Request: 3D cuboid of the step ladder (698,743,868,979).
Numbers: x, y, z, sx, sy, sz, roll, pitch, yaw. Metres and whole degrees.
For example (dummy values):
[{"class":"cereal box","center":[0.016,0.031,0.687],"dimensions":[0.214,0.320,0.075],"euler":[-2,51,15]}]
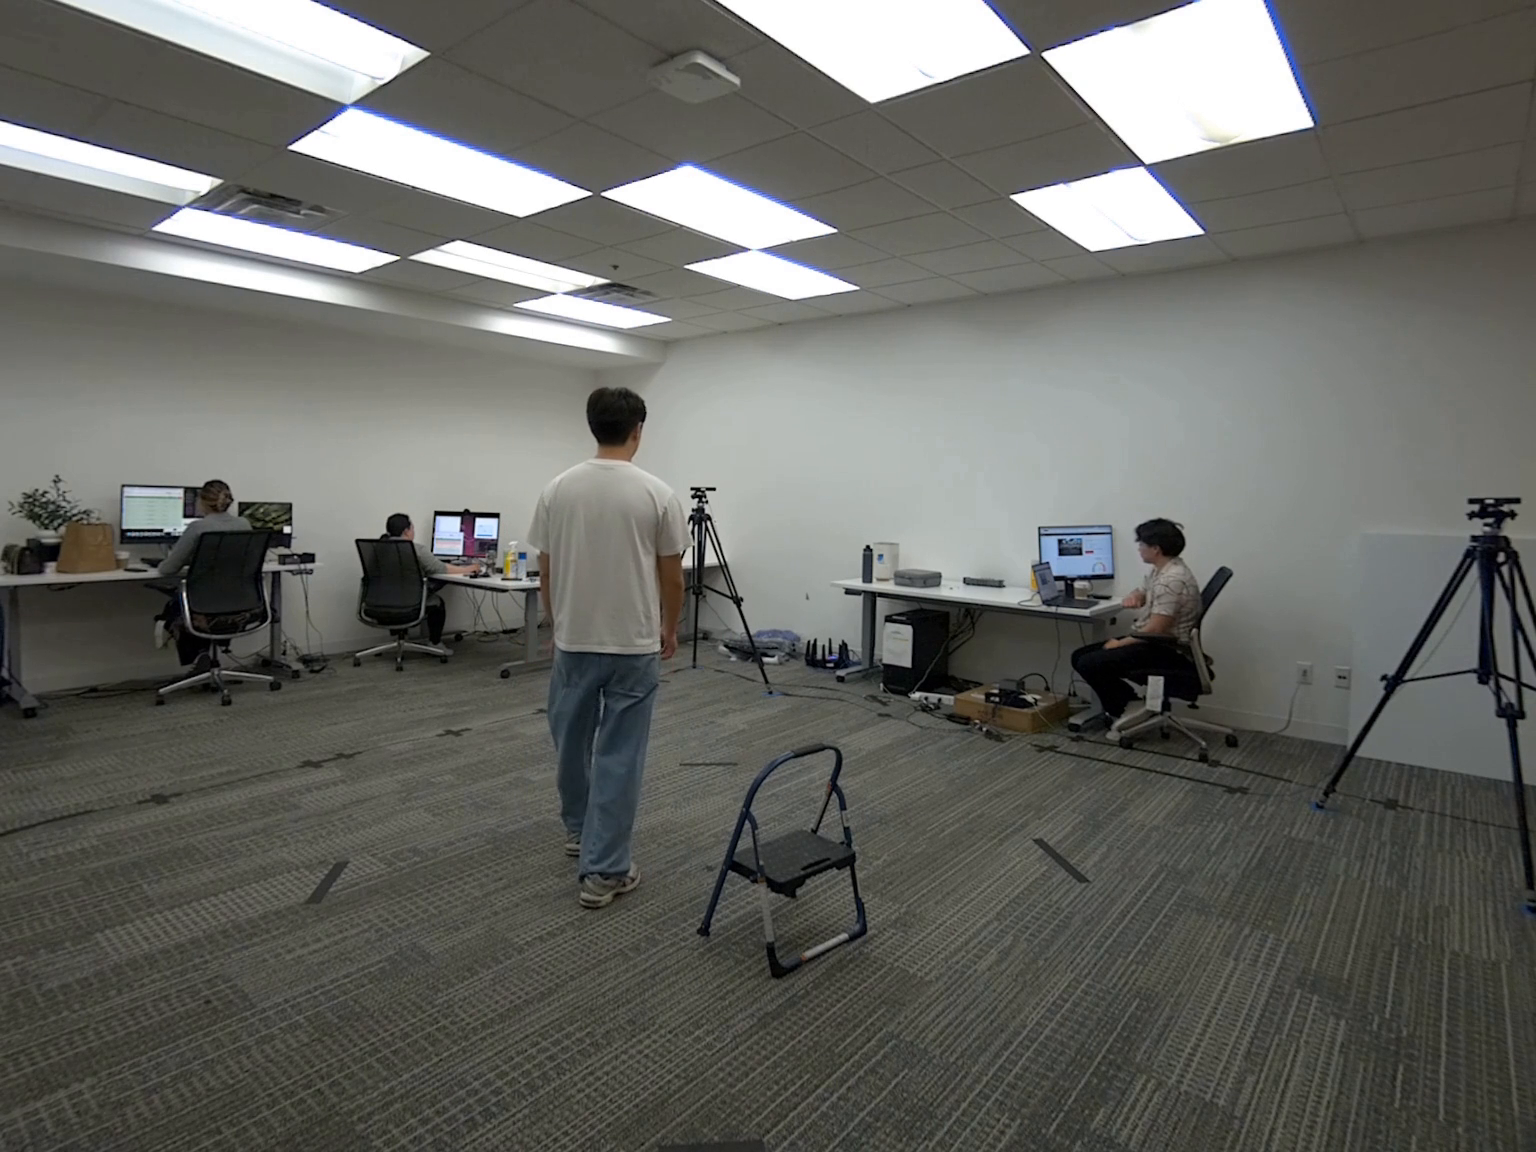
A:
[{"class":"step ladder","center":[0.050,0.812,2.651],"dimensions":[0.417,0.604,0.361],"euler":[-2,5,-44]}]
